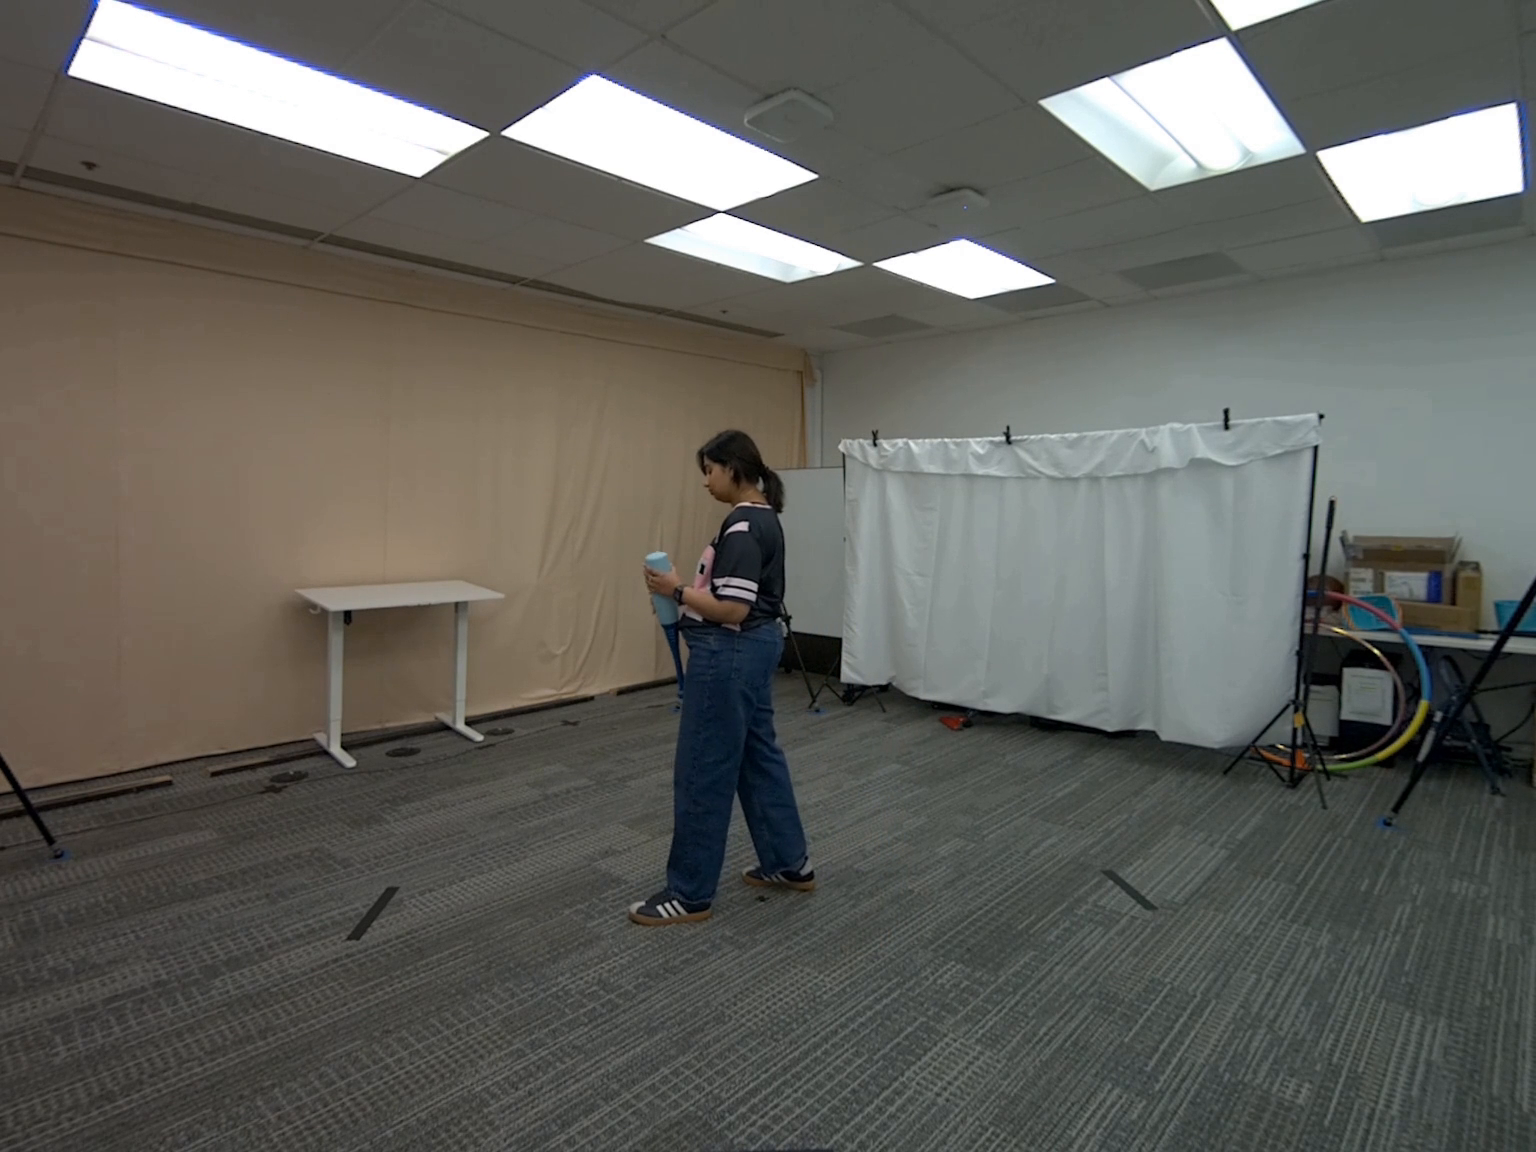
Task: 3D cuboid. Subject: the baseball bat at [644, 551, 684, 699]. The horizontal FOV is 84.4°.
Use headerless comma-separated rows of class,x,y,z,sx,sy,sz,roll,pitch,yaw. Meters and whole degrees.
baseball bat,-0.339,0.182,2.986,0.089,0.537,0.090,-8,13,0
